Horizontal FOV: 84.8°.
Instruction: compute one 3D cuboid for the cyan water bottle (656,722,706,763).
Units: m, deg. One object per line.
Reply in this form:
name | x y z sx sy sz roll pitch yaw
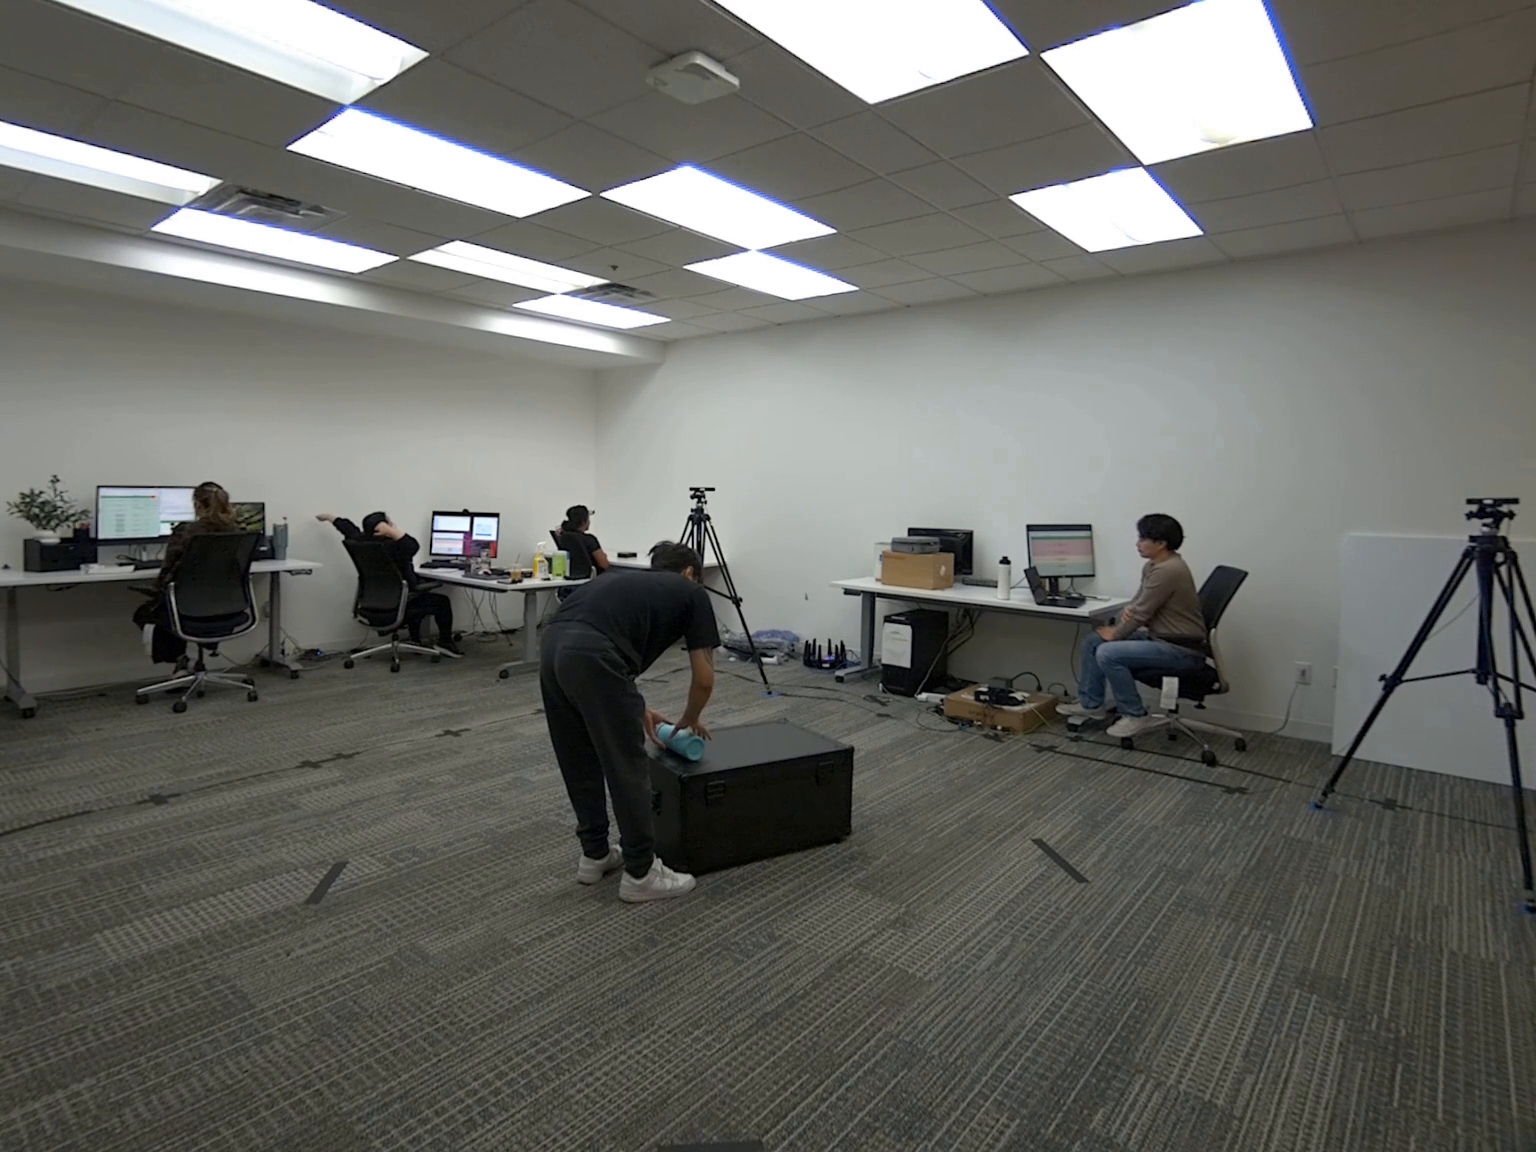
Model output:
cyan water bottle | -0.359 0.625 3.268 0.090 0.092 0.292 -2 5 -34
